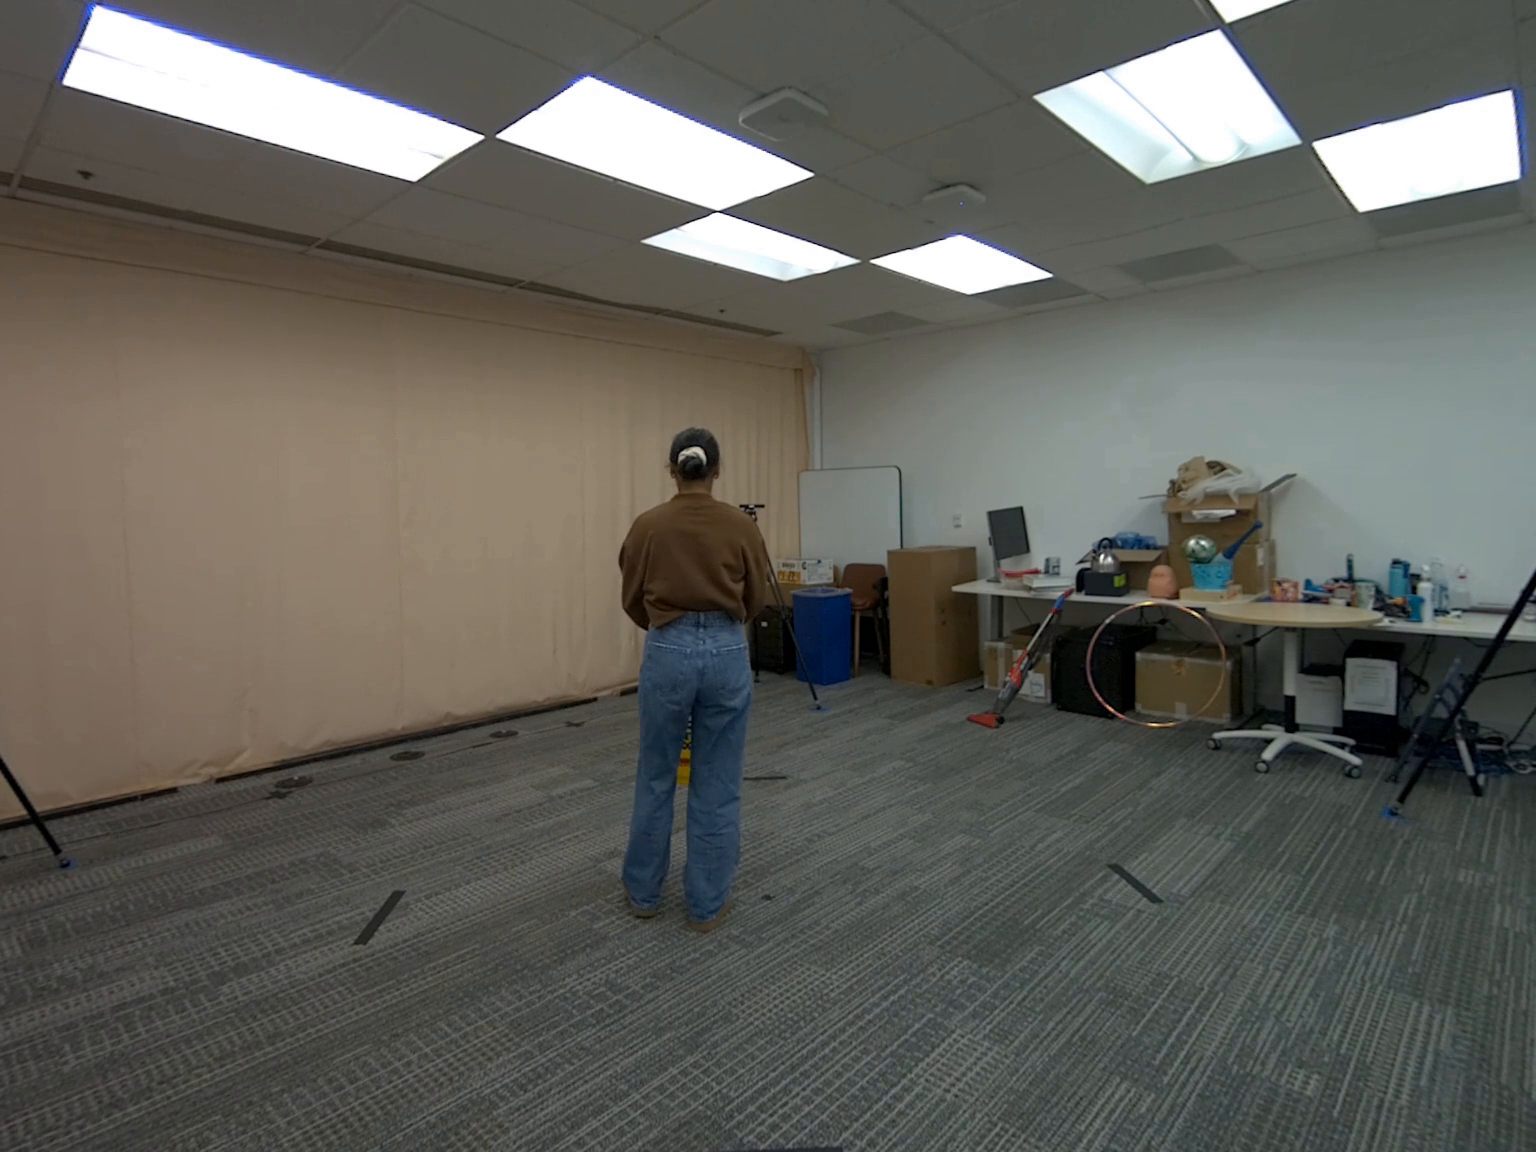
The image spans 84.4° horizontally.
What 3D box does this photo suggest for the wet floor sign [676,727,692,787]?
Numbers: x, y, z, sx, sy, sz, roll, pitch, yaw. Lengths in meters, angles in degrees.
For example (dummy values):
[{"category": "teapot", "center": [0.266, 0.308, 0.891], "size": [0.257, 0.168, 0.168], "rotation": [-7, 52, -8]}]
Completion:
[{"category": "wet floor sign", "center": [-0.318, 0.497, 3.177], "size": [0.282, 0.642, 0.292], "rotation": [3, 12, -2]}]
